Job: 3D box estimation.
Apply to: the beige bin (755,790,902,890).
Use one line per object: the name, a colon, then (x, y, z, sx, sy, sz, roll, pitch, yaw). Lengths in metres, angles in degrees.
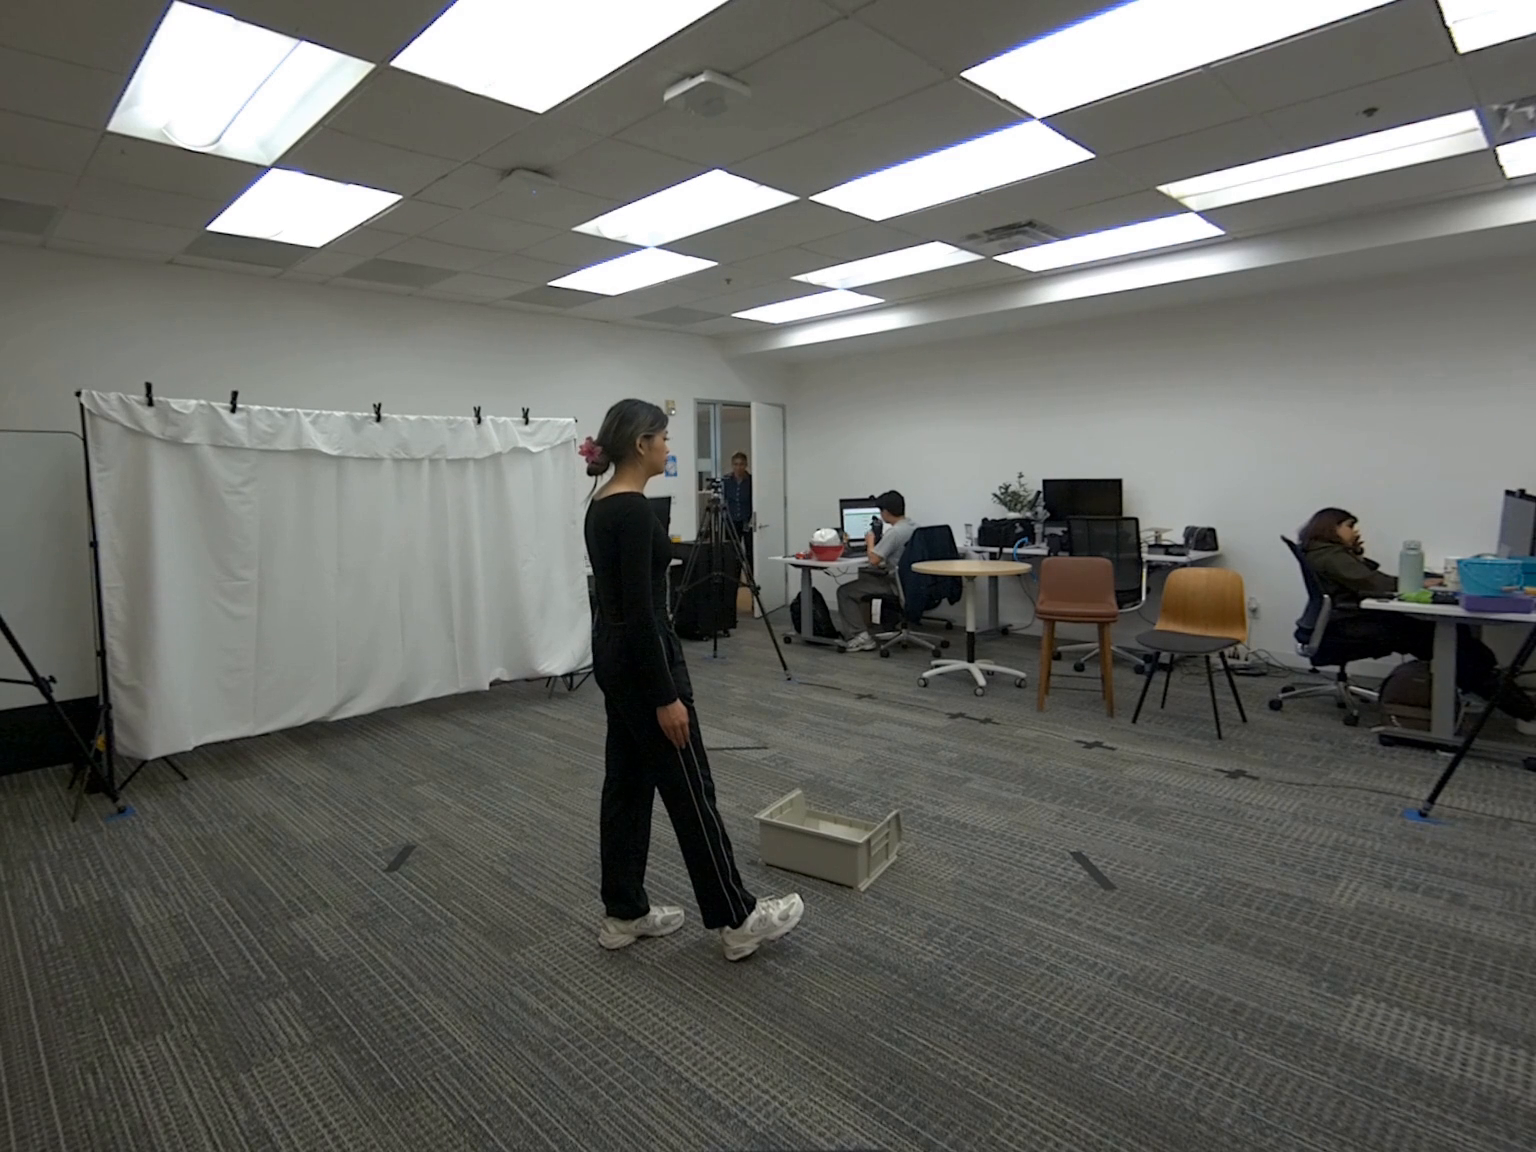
beige bin: (0.227, 0.949, 3.121, 0.434, 0.188, 0.369, 3, 8, 32)
